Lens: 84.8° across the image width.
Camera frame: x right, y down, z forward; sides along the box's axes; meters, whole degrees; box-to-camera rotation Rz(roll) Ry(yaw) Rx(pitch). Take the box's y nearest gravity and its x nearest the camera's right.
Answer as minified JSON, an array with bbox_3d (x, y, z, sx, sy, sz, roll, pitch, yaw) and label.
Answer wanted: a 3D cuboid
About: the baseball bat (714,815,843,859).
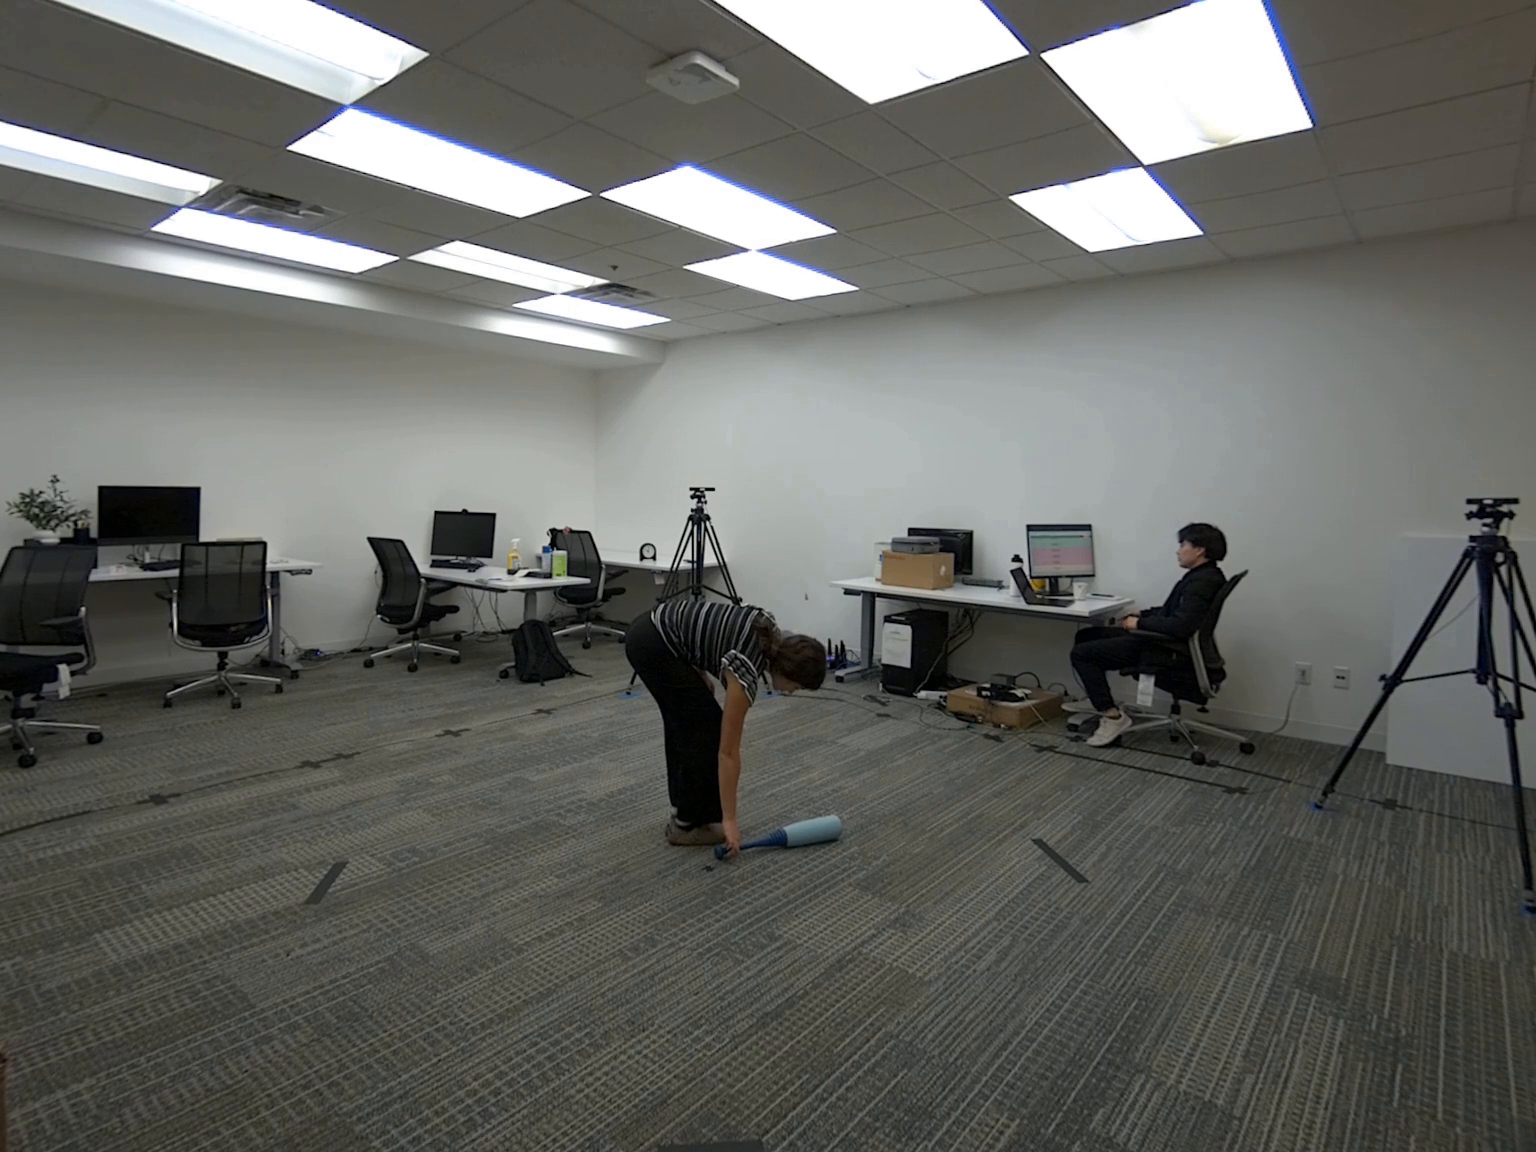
[{"bbox_3d":[0.035,1.016,3.304,0.531,0.088,0.091,-5,6,-25],"label":"baseball bat"}]
